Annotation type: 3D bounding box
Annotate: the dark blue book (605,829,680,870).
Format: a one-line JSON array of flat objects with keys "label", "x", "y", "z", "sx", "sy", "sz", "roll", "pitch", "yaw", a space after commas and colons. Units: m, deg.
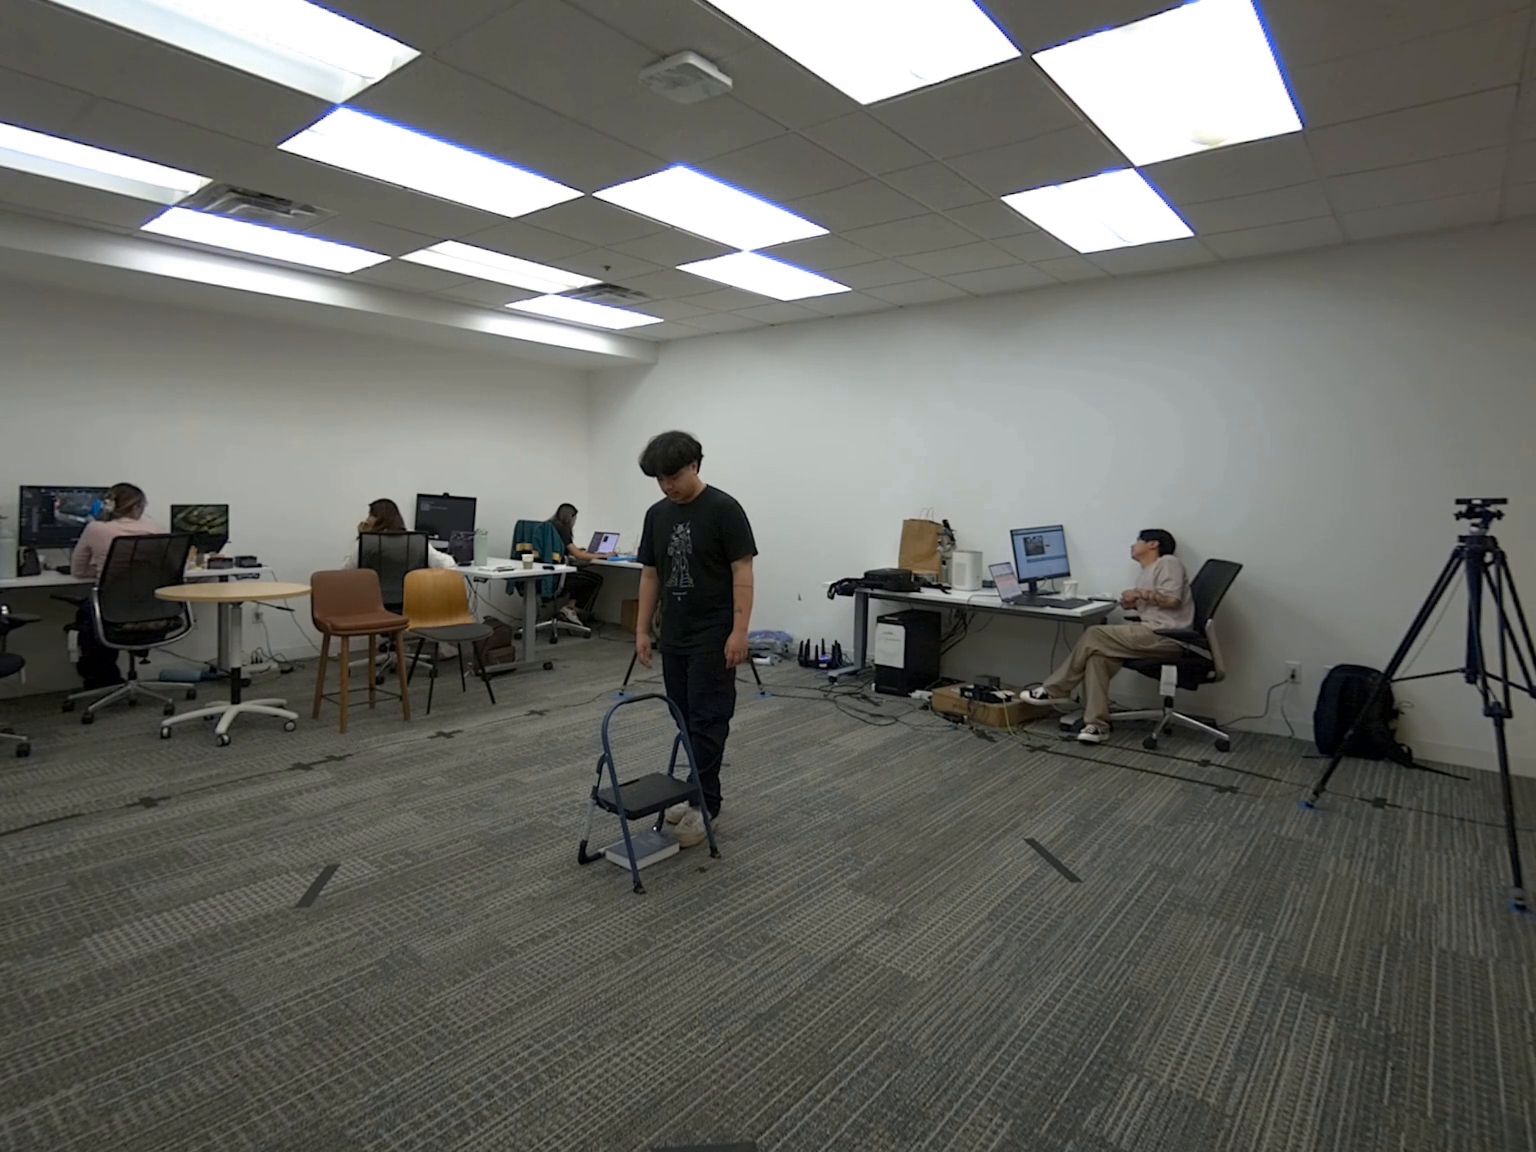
[{"label": "dark blue book", "x": -0.485, "y": 1.034, "z": 3.212, "sx": 0.169, "sy": 0.045, "sz": 0.238, "roll": 4, "pitch": 6, "yaw": 41}]
